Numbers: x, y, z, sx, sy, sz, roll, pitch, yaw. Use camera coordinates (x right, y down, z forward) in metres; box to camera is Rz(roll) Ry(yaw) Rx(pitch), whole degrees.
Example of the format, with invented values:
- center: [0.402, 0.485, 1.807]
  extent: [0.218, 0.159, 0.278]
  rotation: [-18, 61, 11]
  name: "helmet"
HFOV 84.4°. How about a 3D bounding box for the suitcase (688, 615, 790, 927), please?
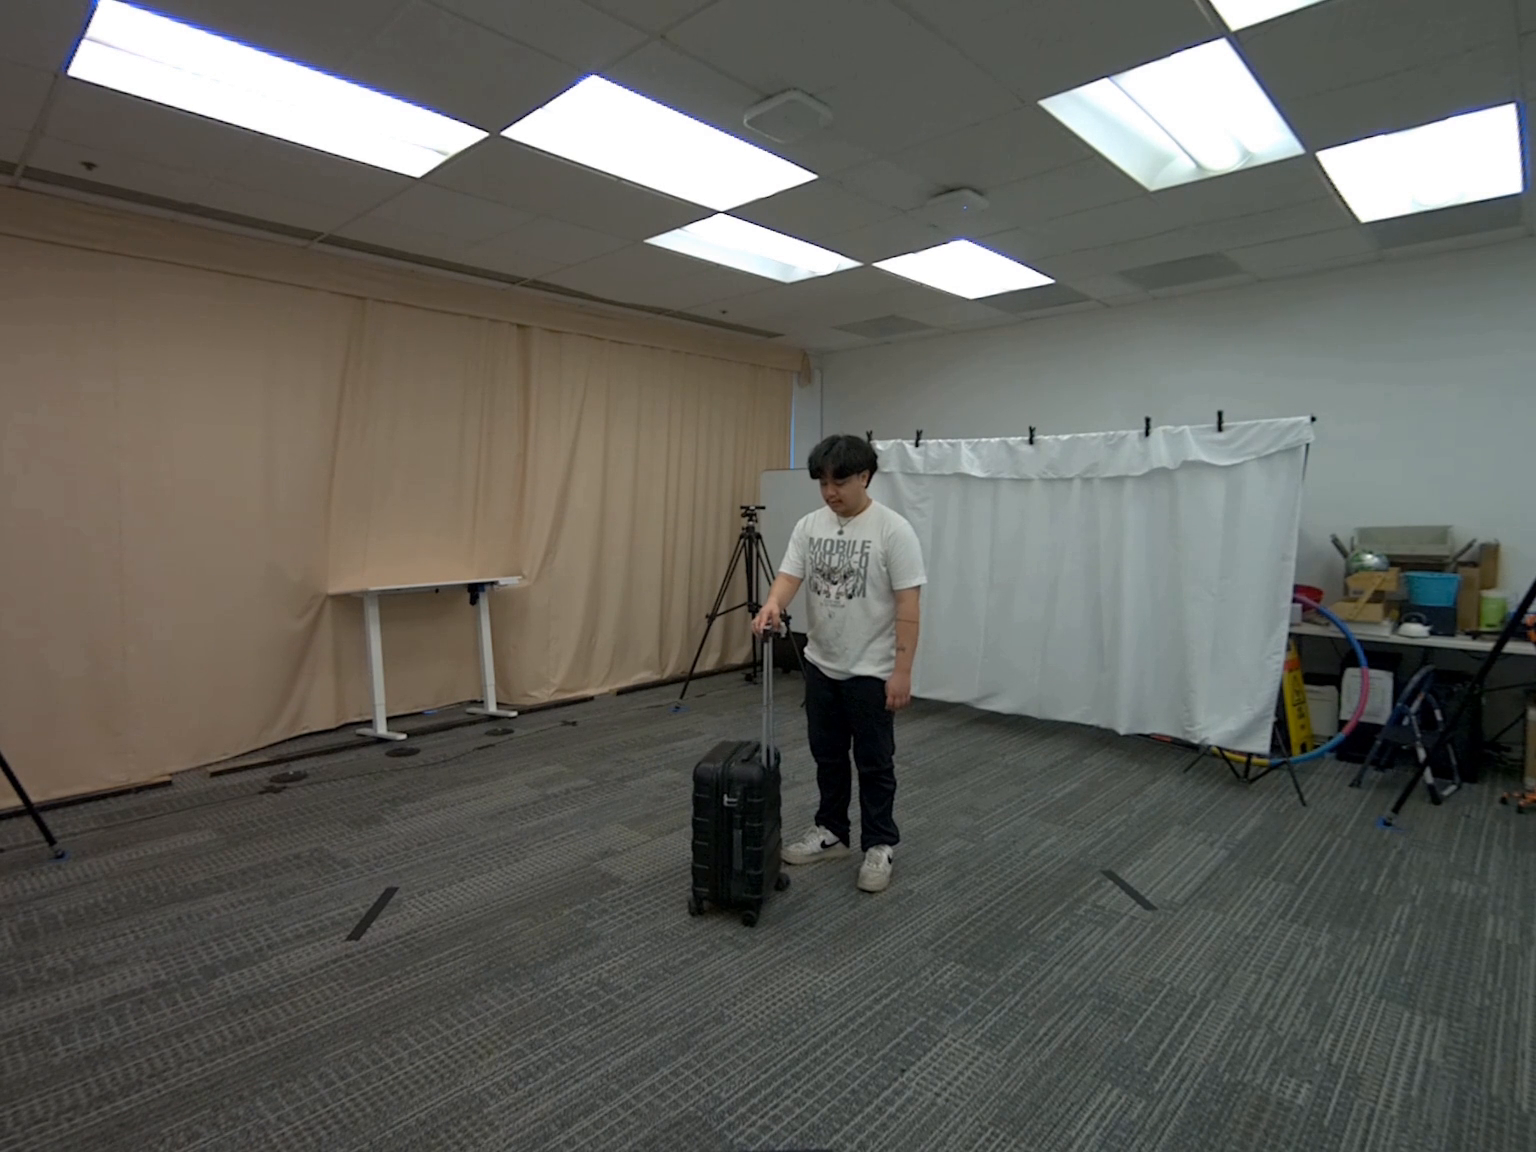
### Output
- center: [-0.105, 0.677, 2.939]
  extent: [0.262, 0.977, 0.378]
  rotation: [-1, 2, 16]
  name: "suitcase"
